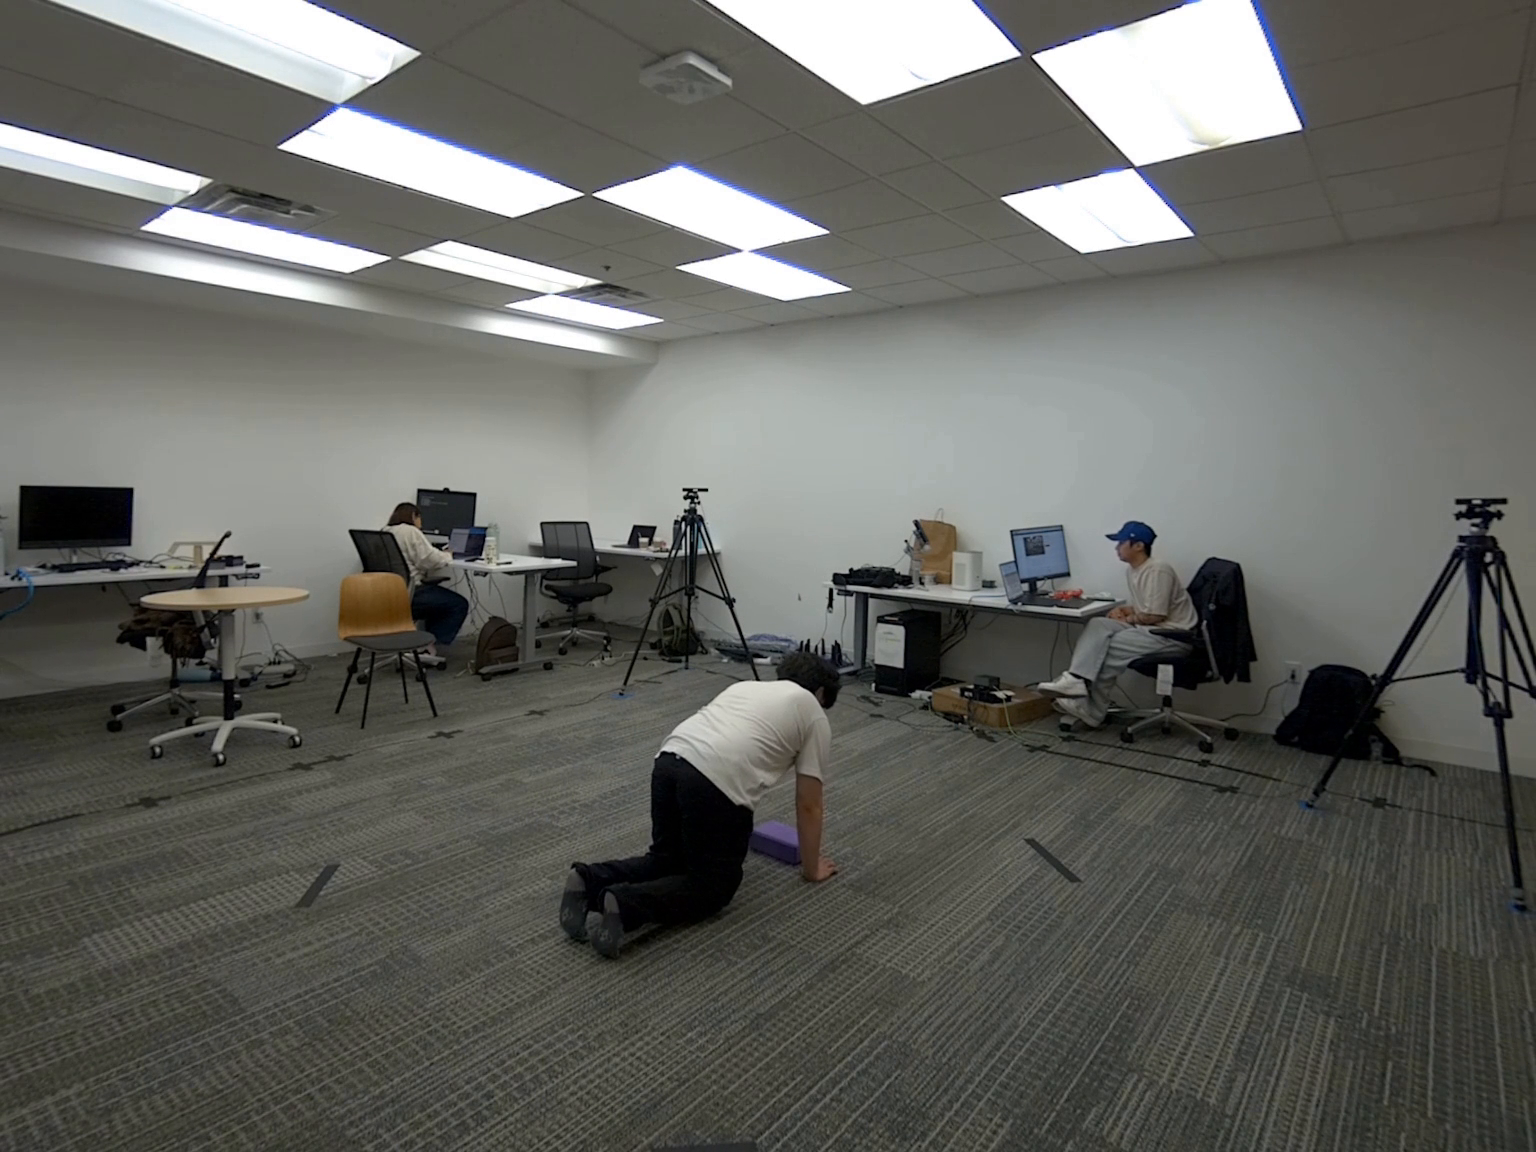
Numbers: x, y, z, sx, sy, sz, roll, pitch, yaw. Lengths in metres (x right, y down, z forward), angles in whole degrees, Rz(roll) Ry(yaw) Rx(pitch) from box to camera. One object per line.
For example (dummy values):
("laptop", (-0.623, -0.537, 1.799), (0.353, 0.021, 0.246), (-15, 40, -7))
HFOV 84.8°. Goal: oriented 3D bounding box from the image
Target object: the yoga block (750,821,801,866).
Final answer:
("yoga block", (0.049, 1.018, 3.275), (0.237, 0.076, 0.145), (6, 7, 39))
